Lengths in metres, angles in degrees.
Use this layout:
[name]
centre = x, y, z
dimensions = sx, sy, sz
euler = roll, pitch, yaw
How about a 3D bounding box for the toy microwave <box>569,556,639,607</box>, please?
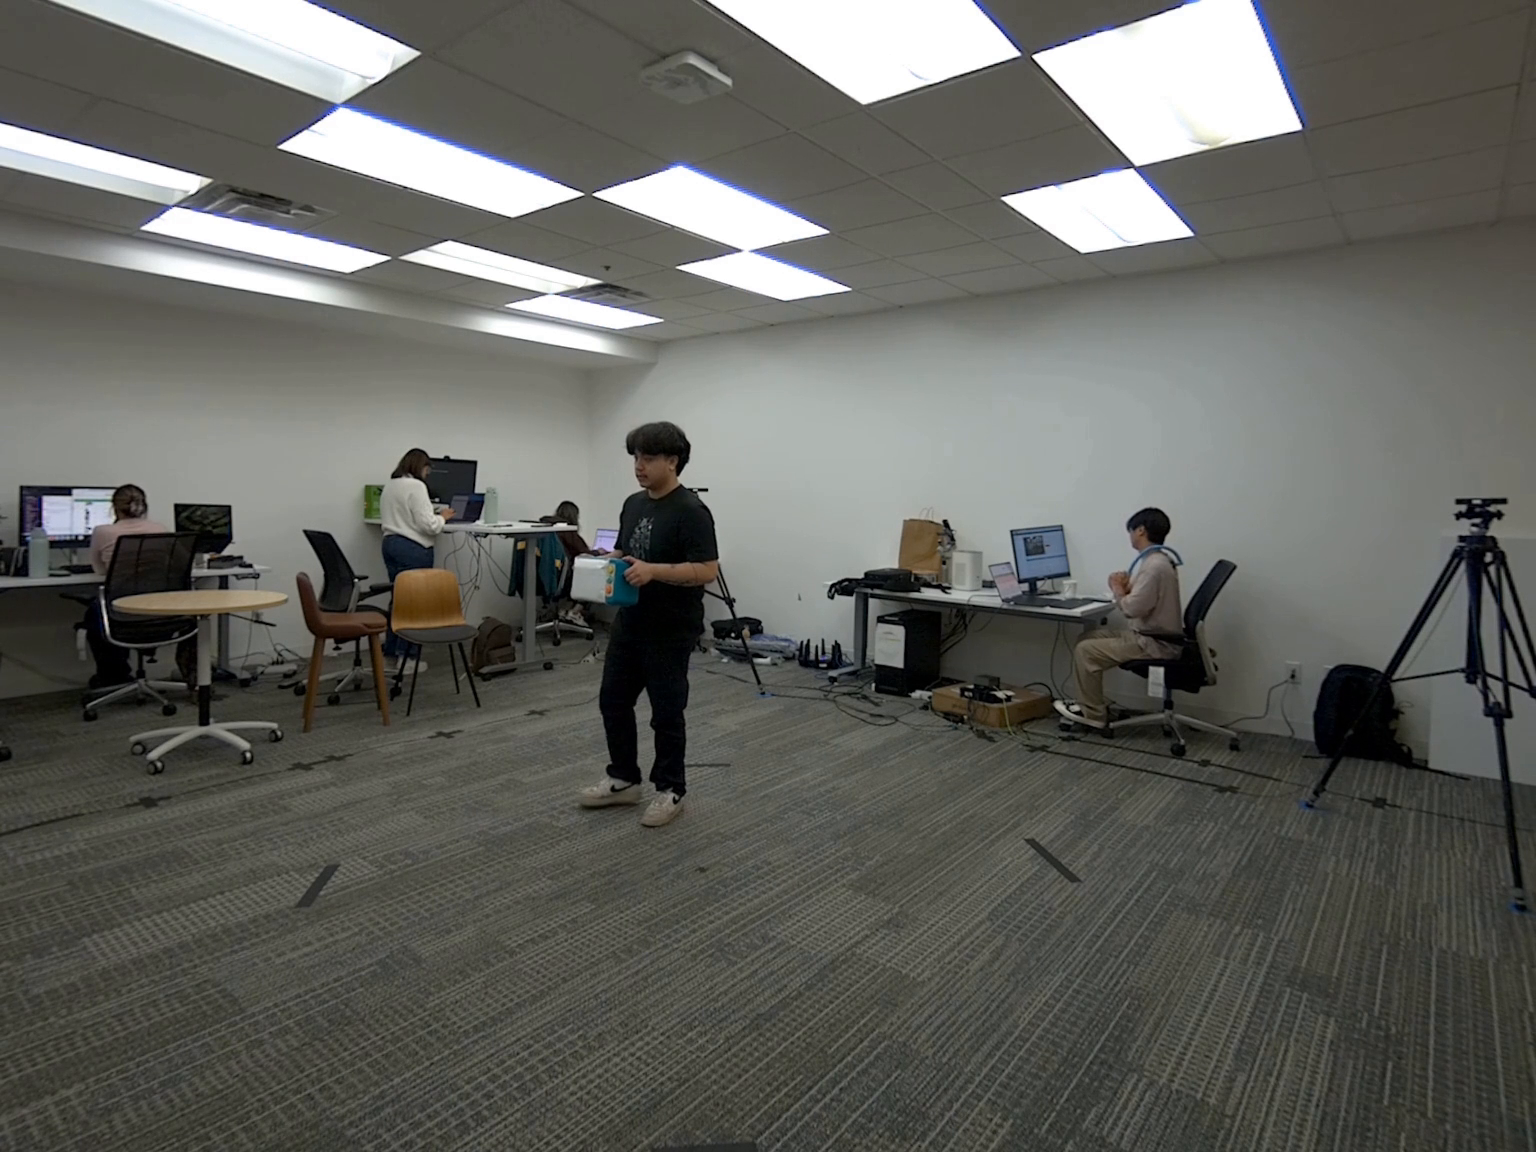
[toy microwave]
centre = -0.677, 0.016, 3.389
dimensions = 0.296, 0.184, 0.147
euler = 4, -2, 41
